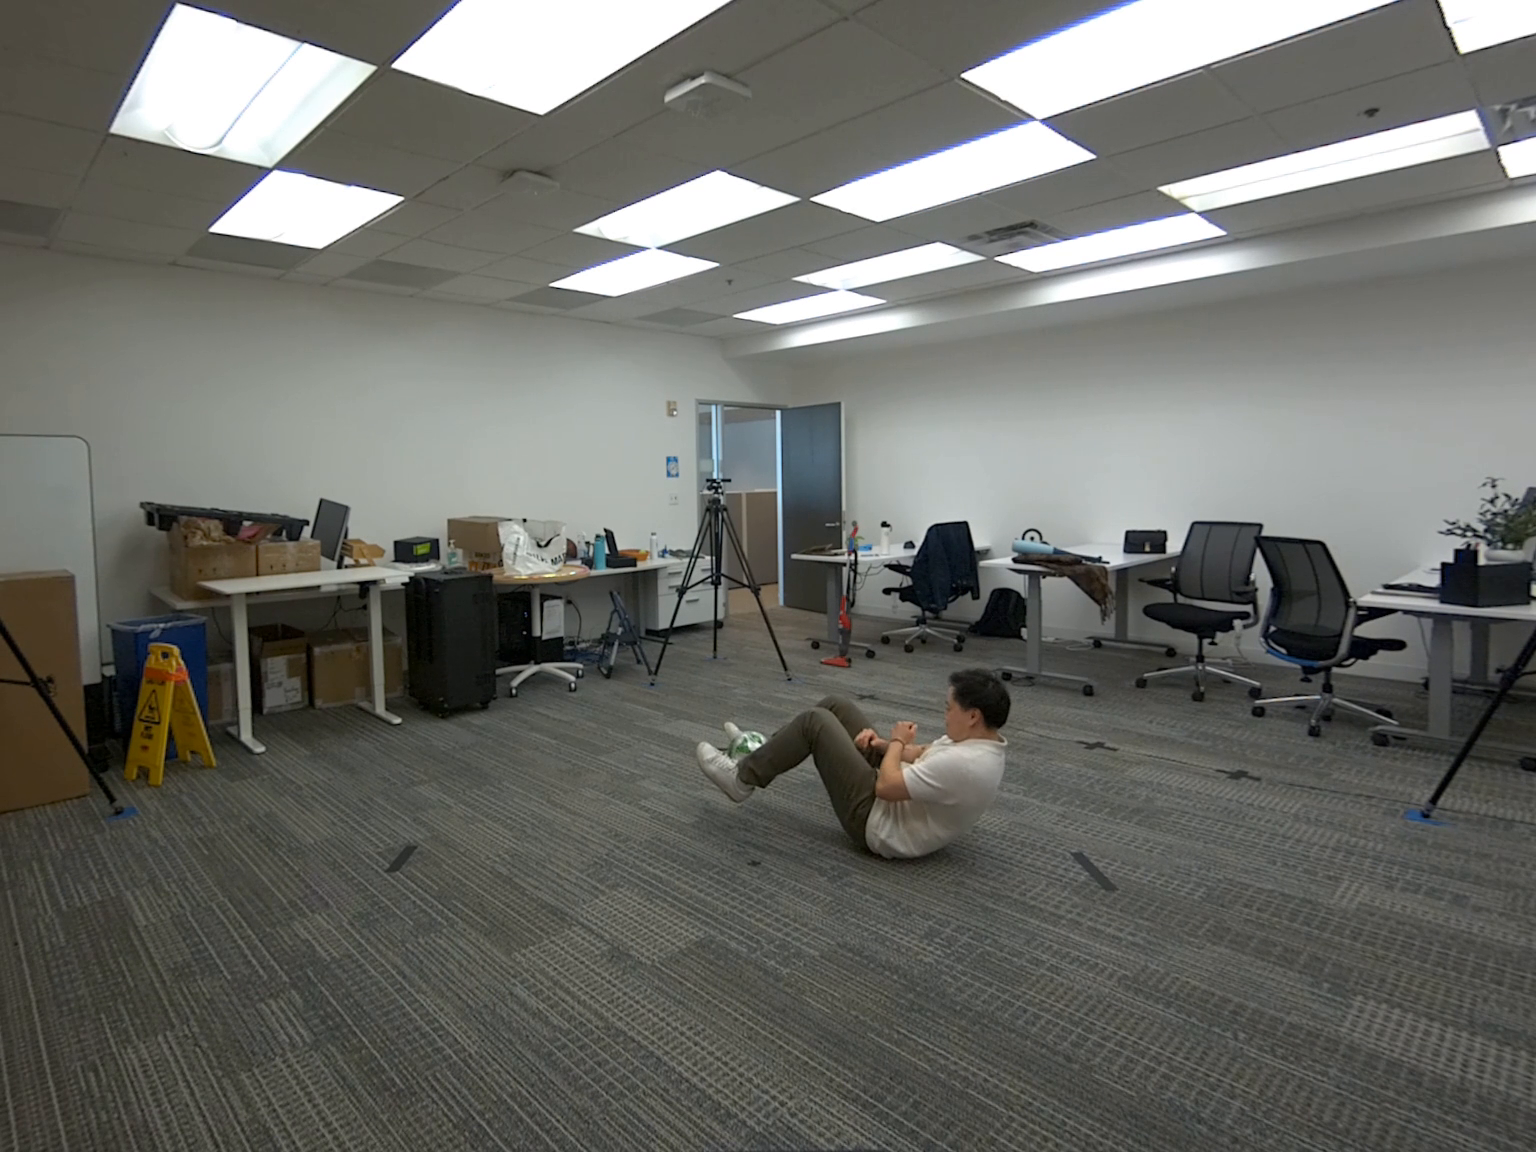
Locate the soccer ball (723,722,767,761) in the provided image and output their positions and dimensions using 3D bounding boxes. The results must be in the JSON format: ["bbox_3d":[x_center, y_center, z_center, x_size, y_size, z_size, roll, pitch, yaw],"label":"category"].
[{"bbox_3d":[-0.064,0.723,3.490,0.187,0.187,0.188,-1,5,-2],"label":"soccer ball"}]
